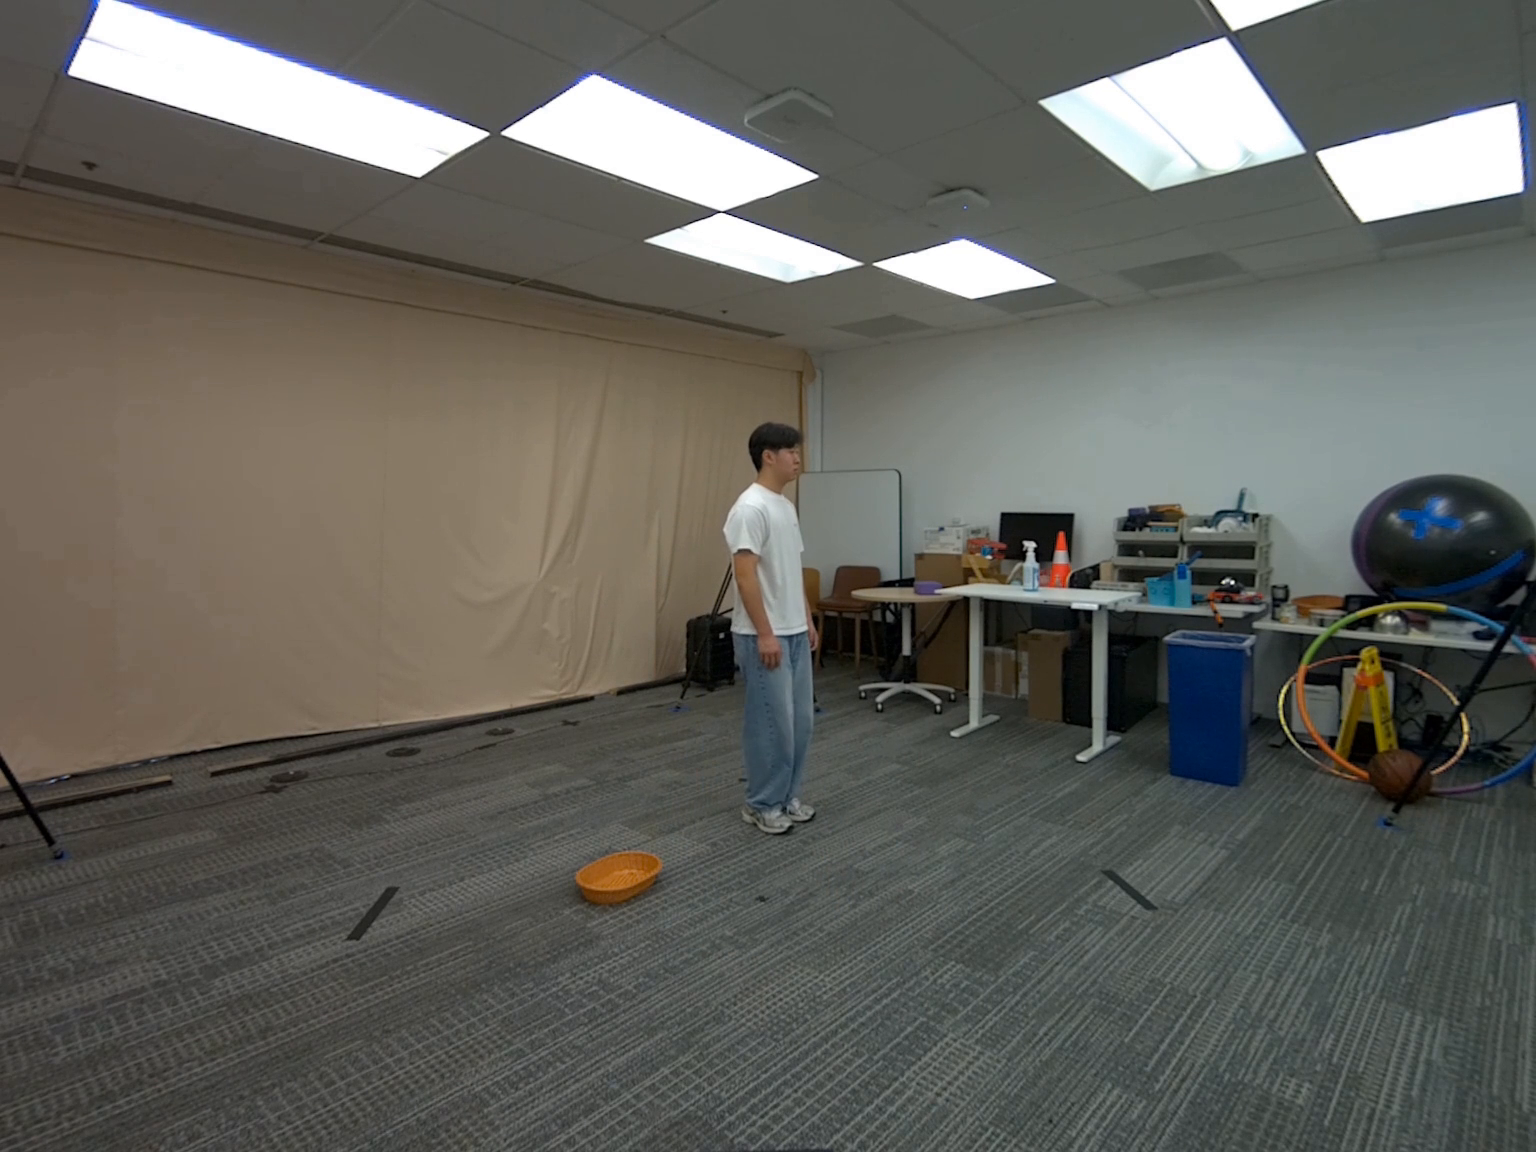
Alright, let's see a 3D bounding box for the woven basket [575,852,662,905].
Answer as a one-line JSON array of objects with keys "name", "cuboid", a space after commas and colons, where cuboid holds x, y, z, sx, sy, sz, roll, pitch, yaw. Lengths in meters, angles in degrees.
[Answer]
[{"name": "woven basket", "cuboid": [-0.537, 1.103, 3.067, 0.260, 0.073, 0.340, 3, 6, 36]}]
